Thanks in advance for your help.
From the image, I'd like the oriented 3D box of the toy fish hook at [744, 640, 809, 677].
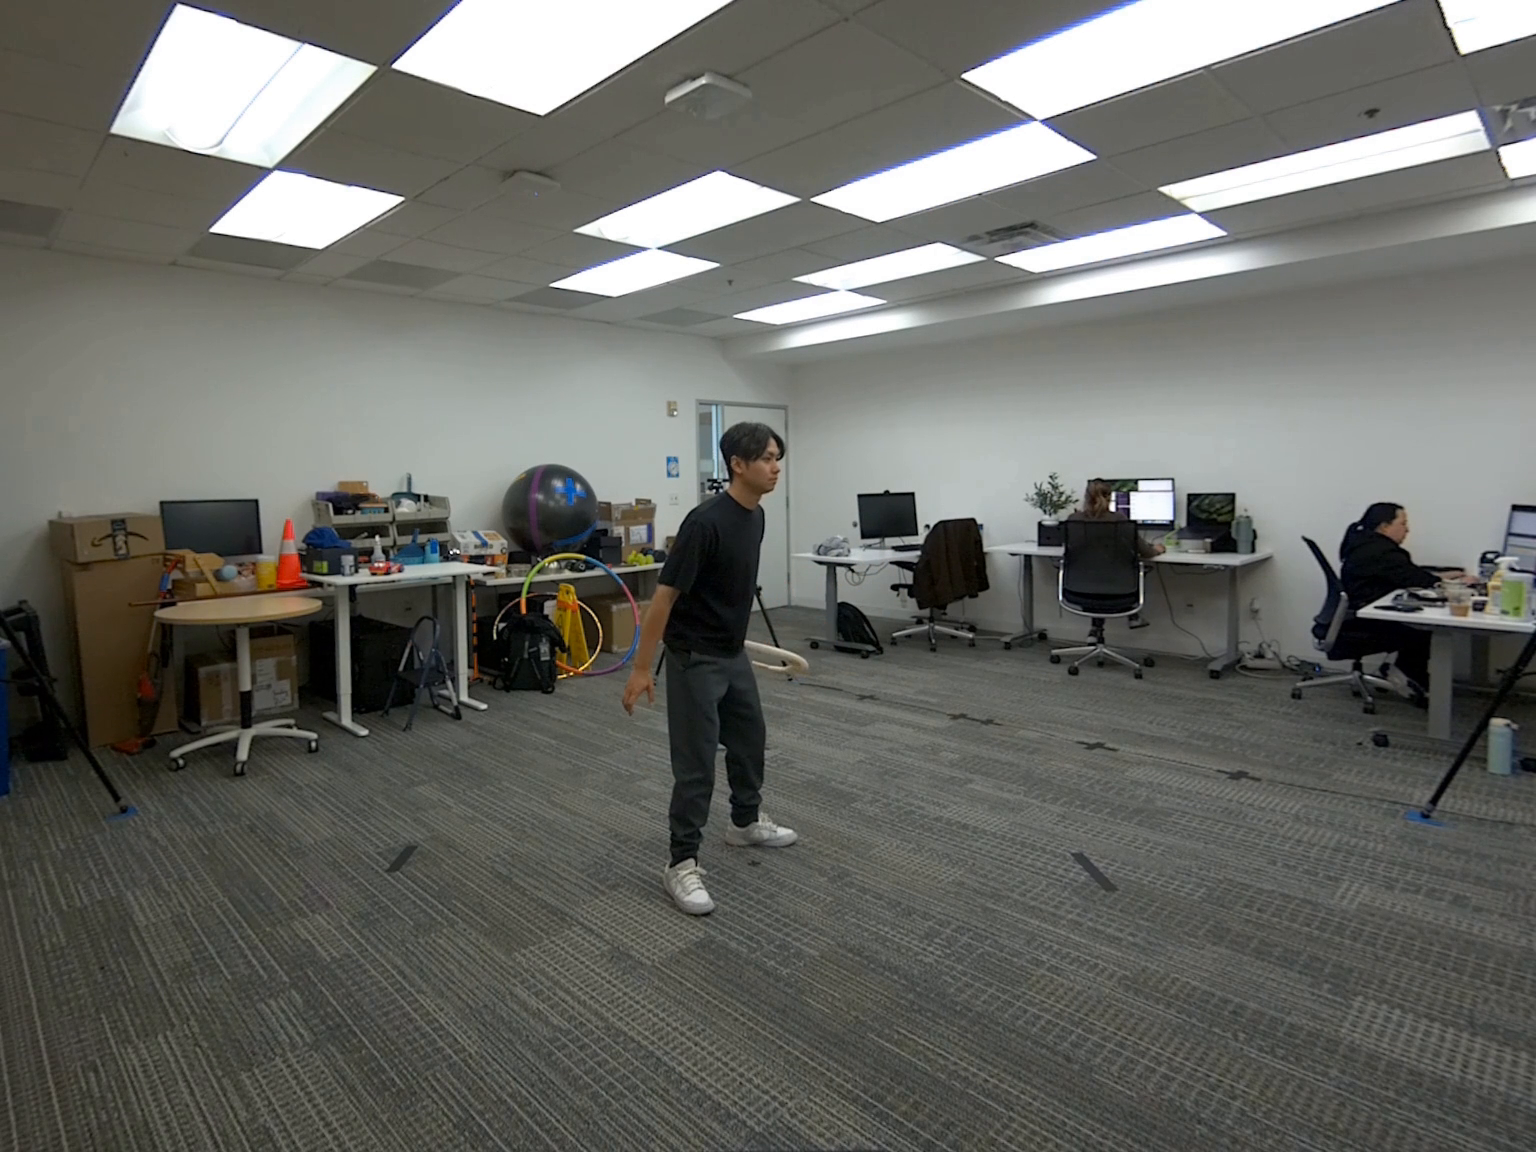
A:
[{"bbox_3d":[-0.051,0.313,3.458,0.499,0.049,0.224,21,-32,-12],"label":"toy fish hook"}]
